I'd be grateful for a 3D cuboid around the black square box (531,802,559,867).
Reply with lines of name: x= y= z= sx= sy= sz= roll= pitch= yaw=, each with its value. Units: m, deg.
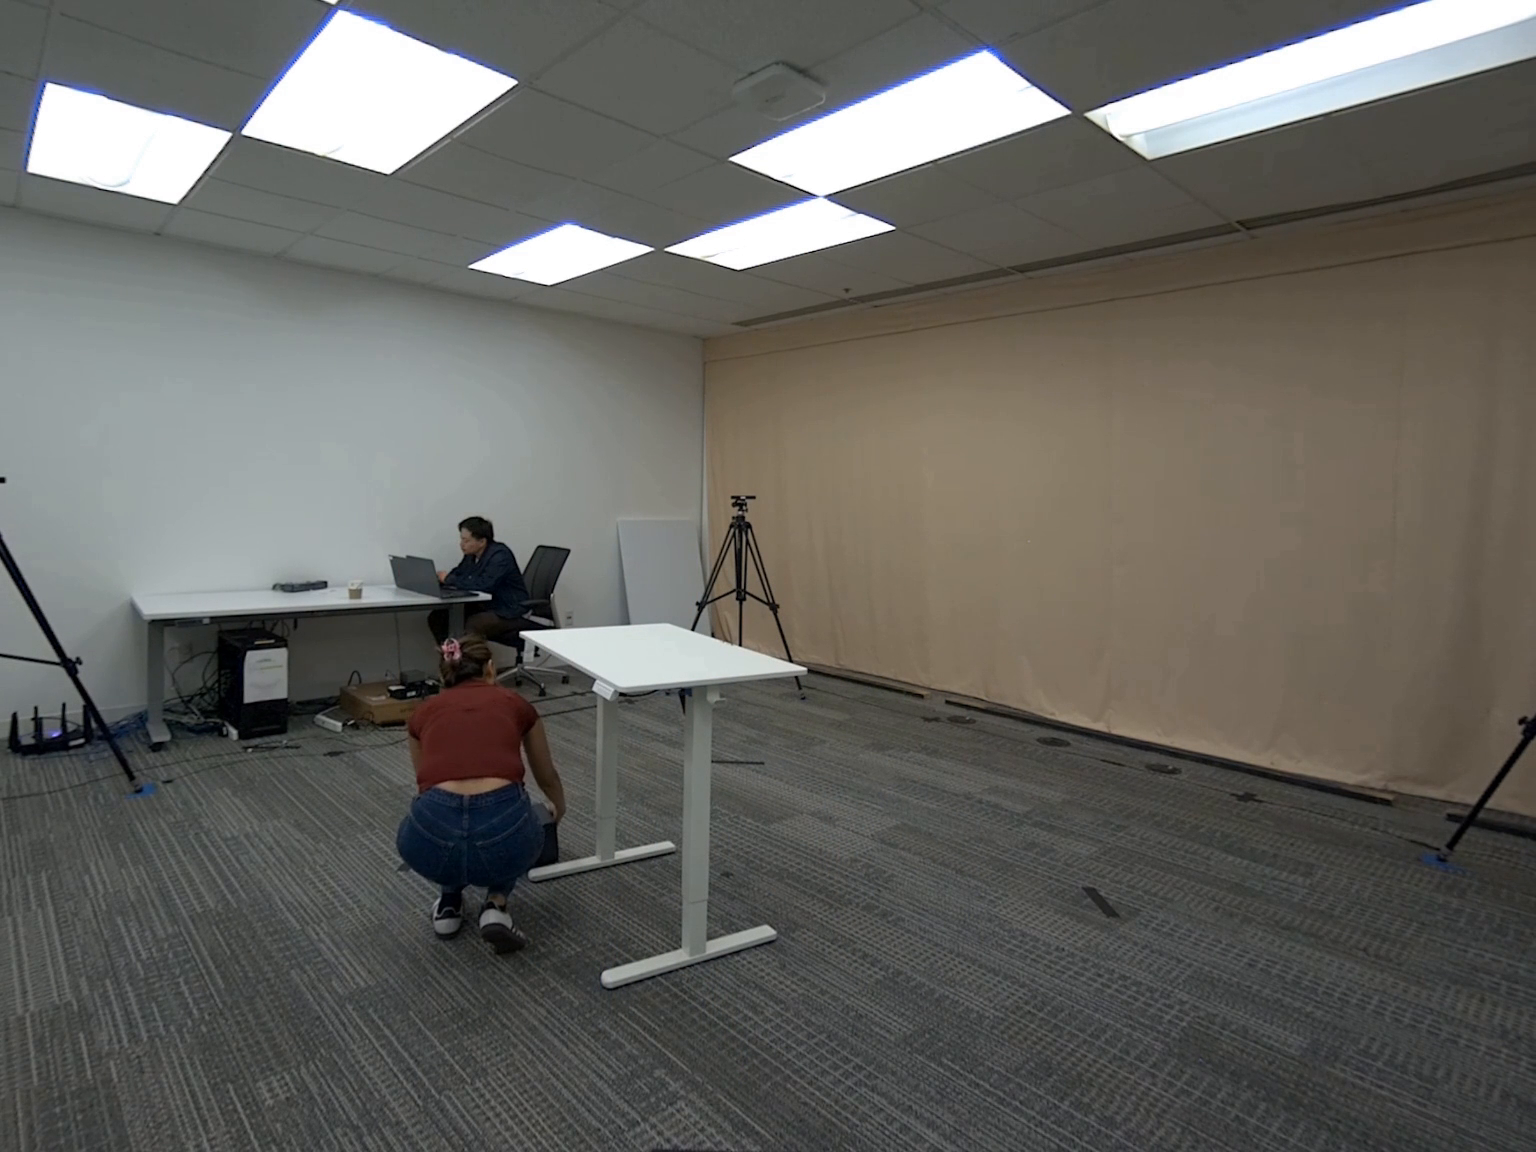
black square box: x=-0.939 y=0.988 z=3.179 sx=0.224 sy=0.155 sz=0.222 roll=-6 pitch=8 yaw=-26
